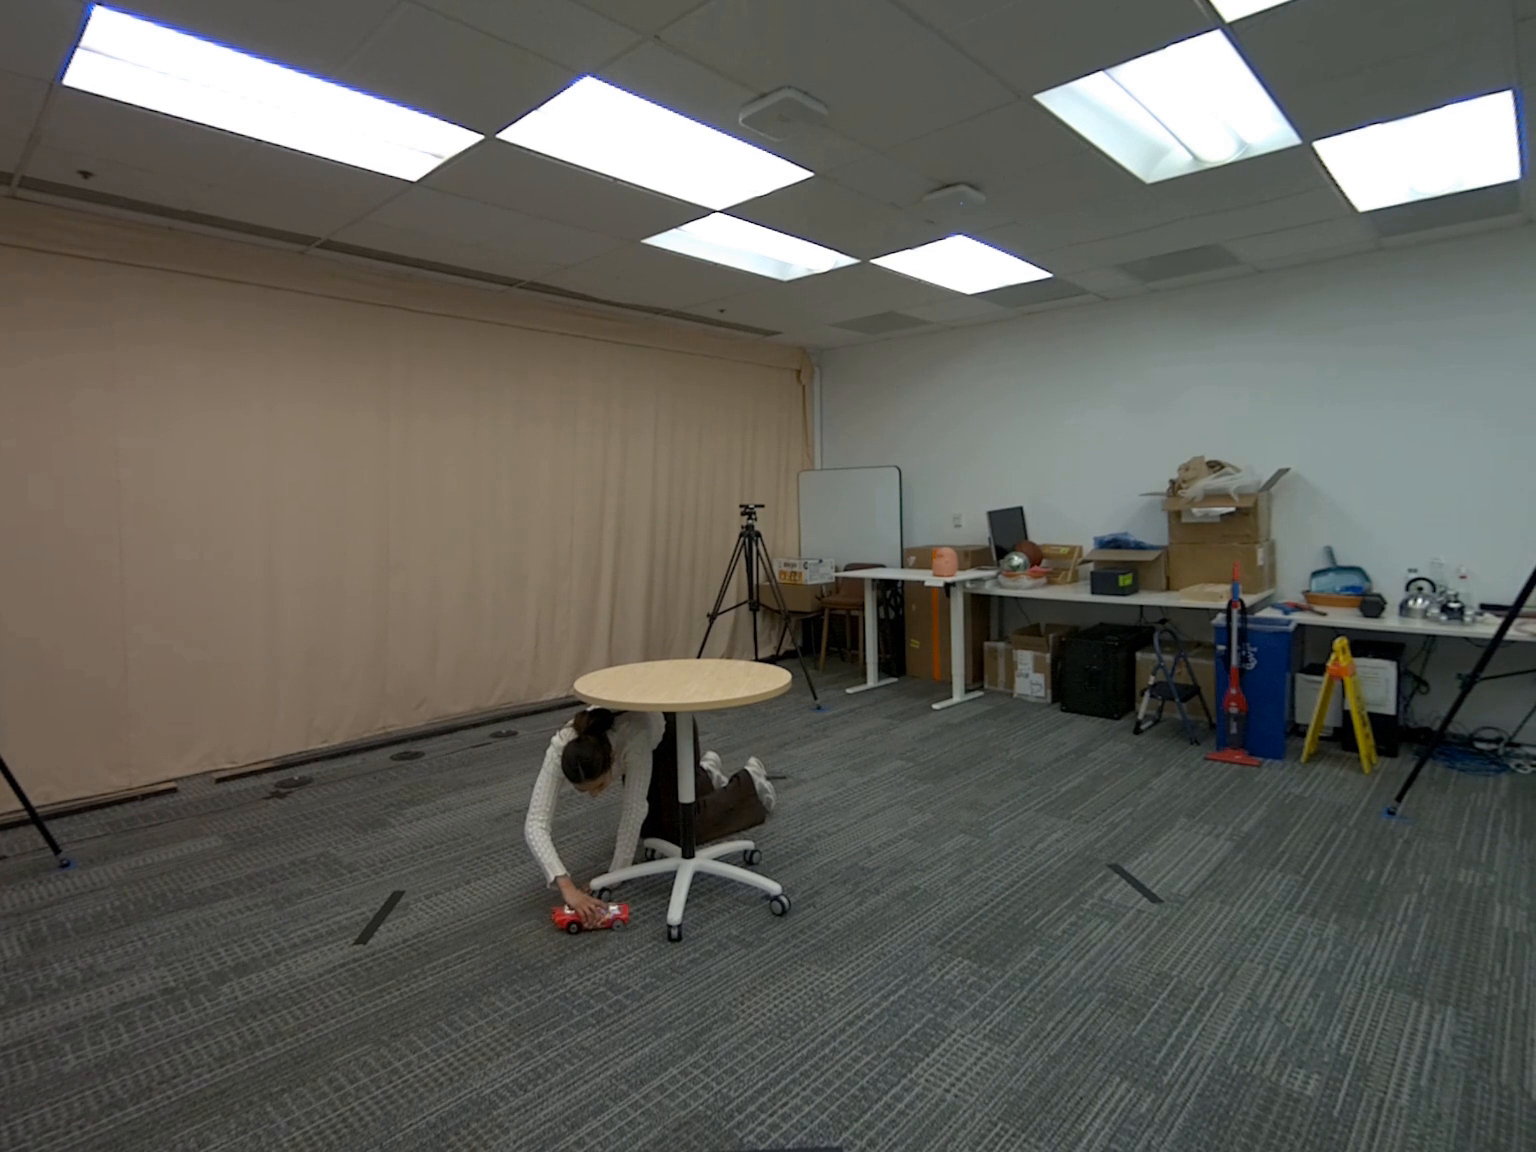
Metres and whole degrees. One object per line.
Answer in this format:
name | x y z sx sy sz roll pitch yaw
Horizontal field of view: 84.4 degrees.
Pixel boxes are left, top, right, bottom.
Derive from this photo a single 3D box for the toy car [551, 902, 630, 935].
toy car | -0.600 1.133 2.827 0.252 0.083 0.131 8 3 -7
